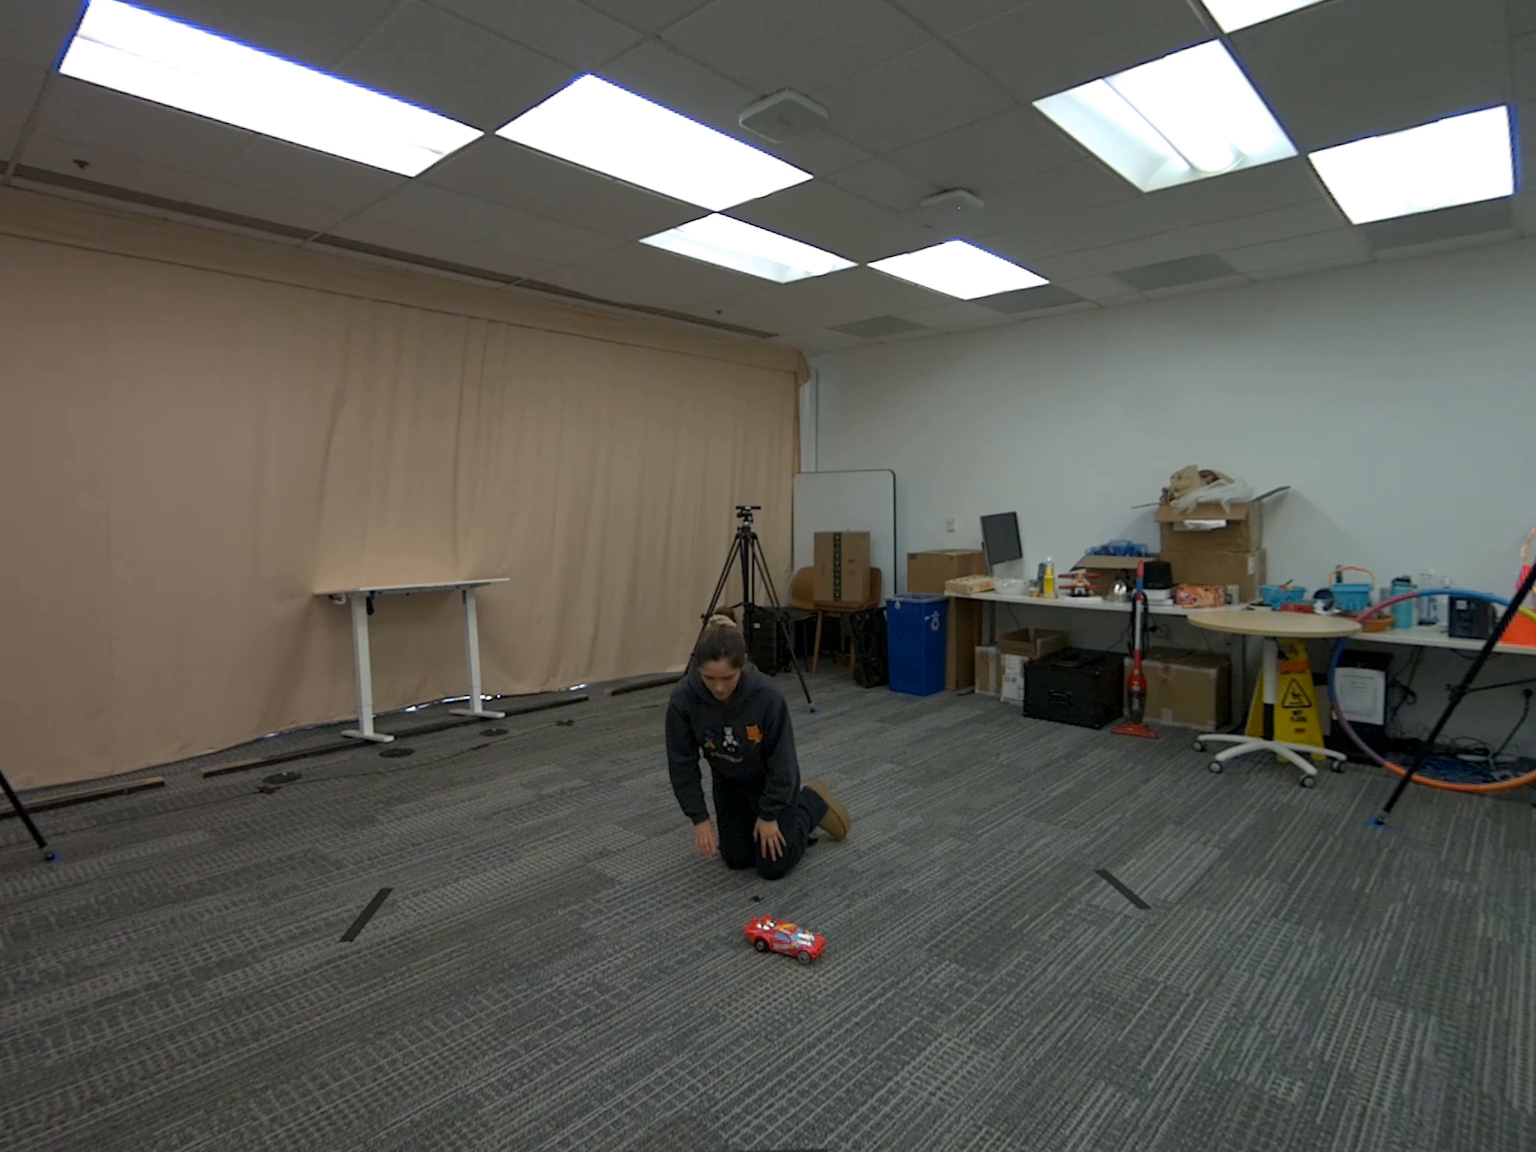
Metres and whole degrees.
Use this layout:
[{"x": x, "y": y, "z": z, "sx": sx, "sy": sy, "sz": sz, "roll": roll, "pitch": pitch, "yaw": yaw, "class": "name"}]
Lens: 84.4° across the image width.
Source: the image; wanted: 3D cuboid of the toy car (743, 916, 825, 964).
[{"x": 0.060, "y": 1.136, "z": 2.646, "sx": 0.262, "sy": 0.083, "sz": 0.127, "roll": 14, "pitch": 11, "yaw": 28, "class": "toy car"}]
